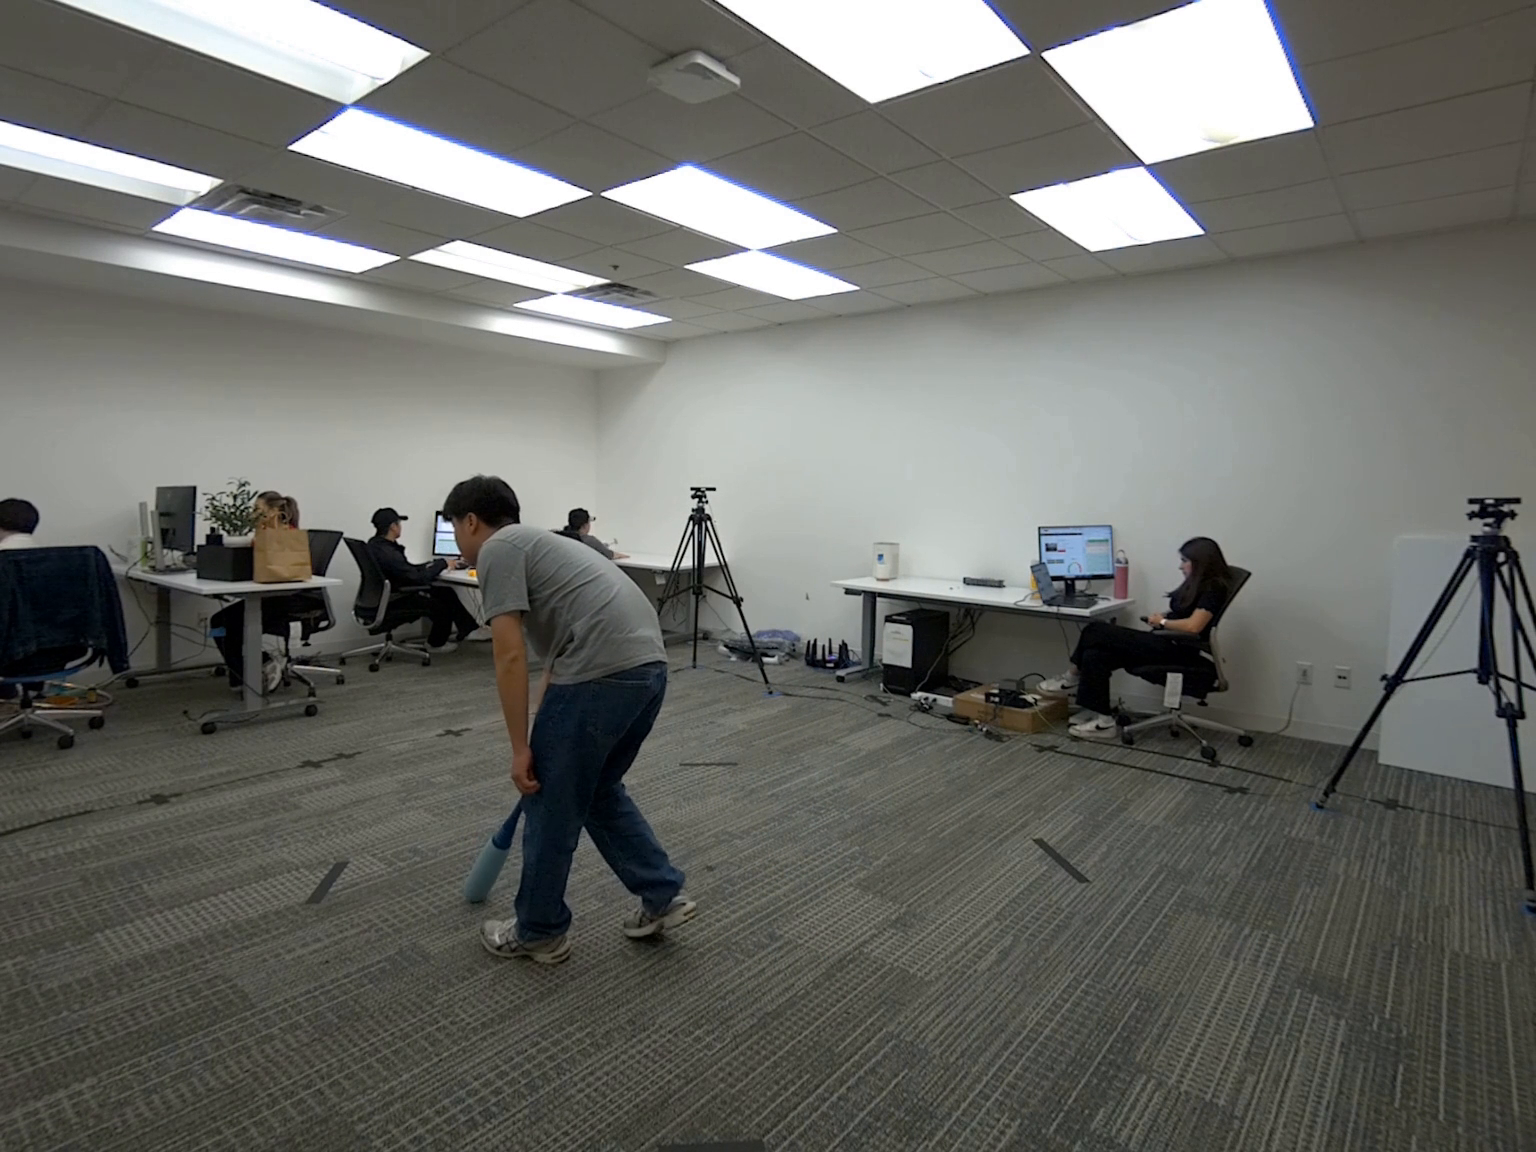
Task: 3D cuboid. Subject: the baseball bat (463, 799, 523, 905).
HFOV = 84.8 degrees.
[{"bbox_3d":[-0.878,0.852,2.765,0.087,0.540,0.091,26,21,-13],"label":"baseball bat"}]
